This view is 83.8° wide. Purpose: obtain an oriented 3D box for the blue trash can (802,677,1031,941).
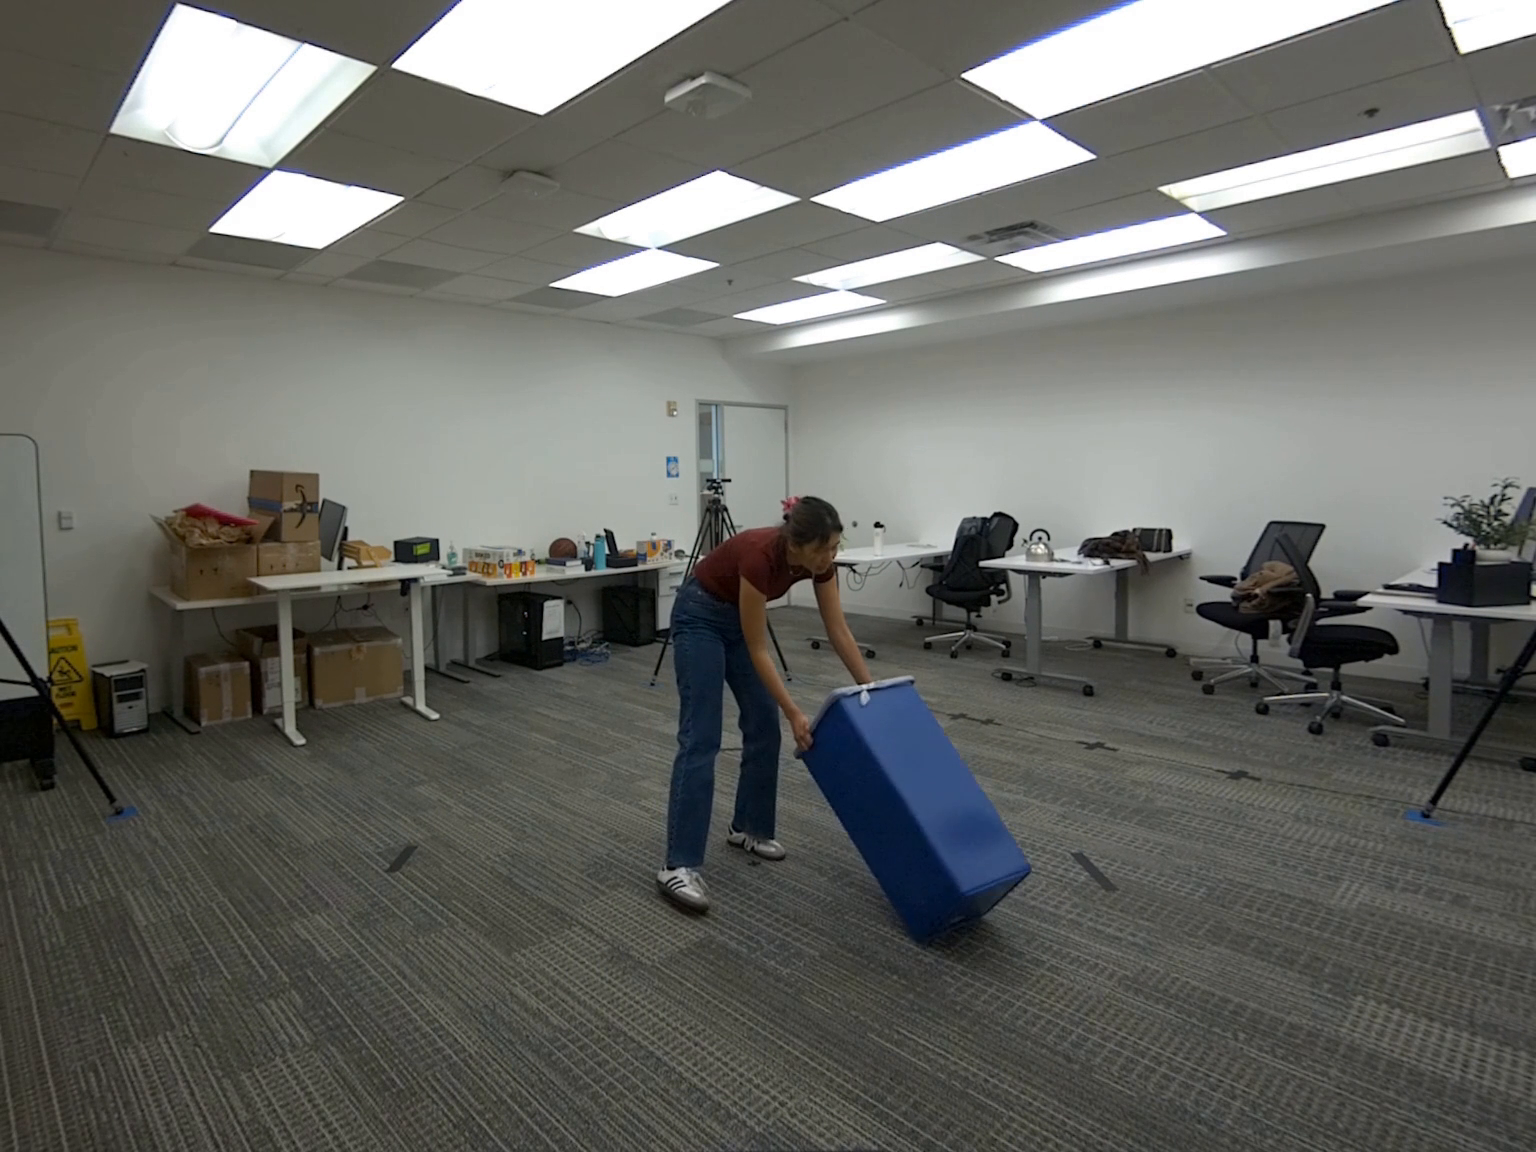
[{"bbox_3d":[0.440,0.736,2.753,0.369,0.370,0.740,-3,46,-33],"label":"blue trash can"}]
